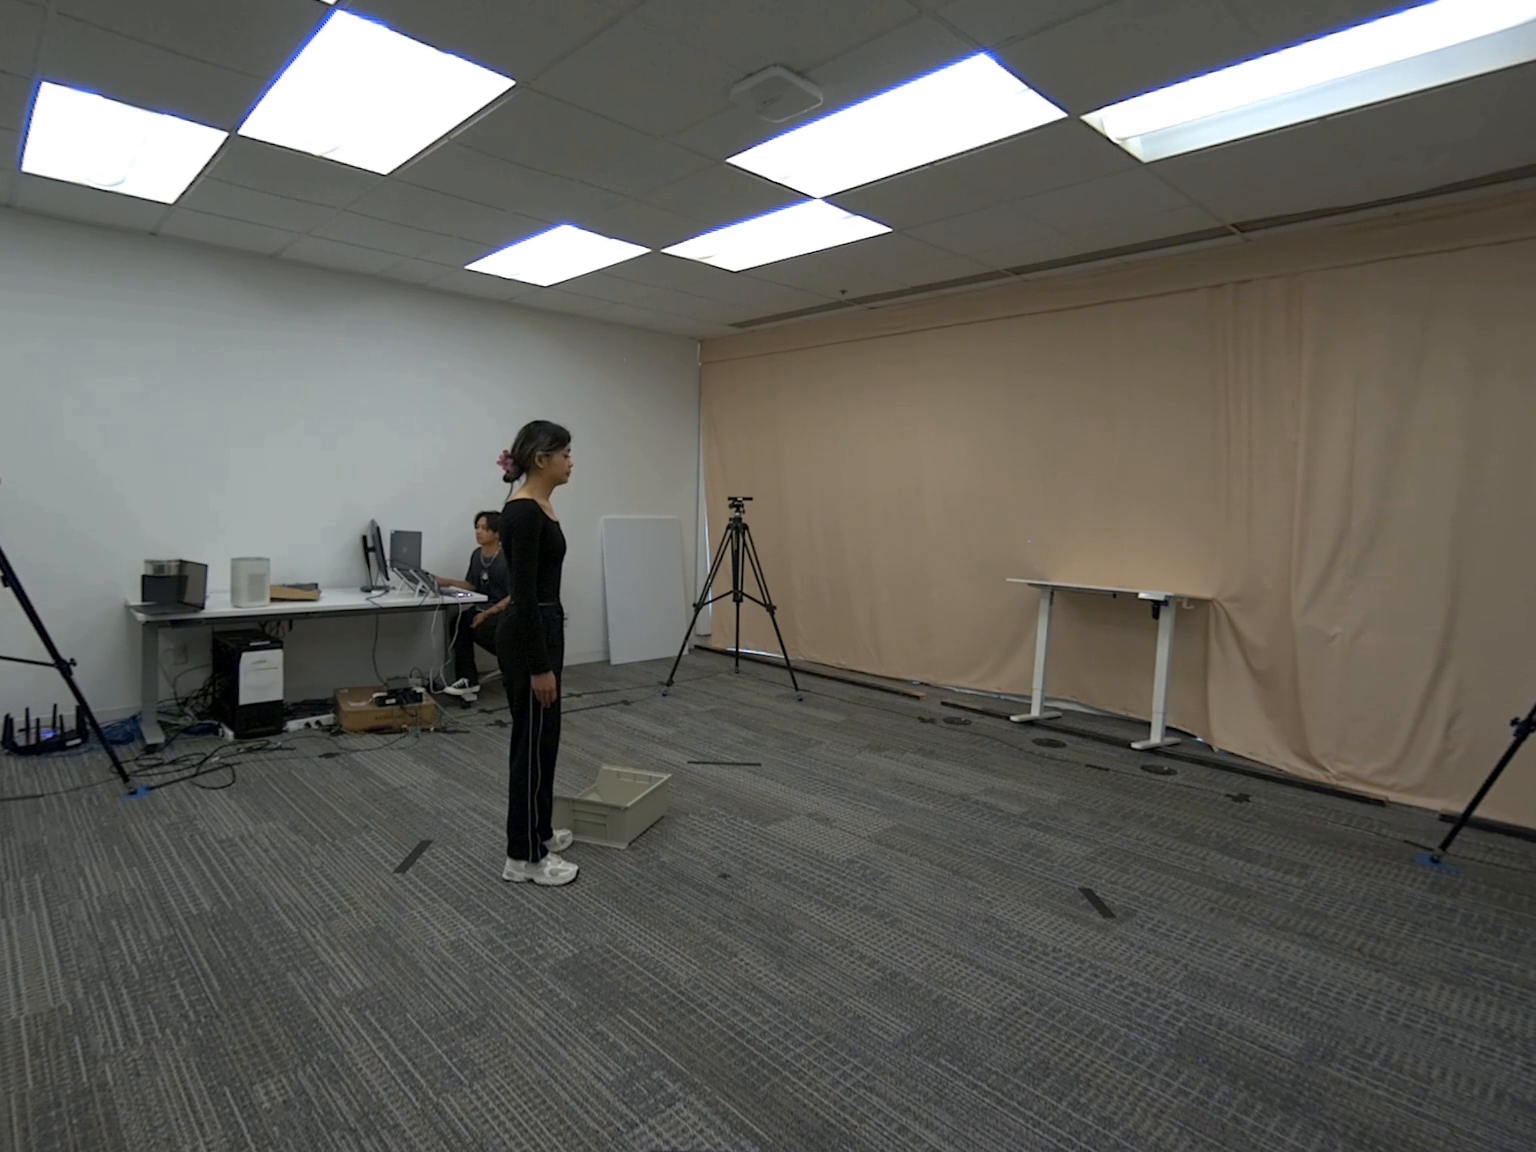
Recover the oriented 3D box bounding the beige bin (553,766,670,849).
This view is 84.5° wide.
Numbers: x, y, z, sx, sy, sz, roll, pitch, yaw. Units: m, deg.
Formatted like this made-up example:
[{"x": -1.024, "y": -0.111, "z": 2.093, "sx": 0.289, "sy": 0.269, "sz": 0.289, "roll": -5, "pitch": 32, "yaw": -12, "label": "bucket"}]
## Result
[{"x": -0.675, "y": 0.964, "z": 3.561, "sx": 0.383, "sy": 0.188, "sz": 0.417, "roll": 5, "pitch": 5, "yaw": 19, "label": "beige bin"}]
